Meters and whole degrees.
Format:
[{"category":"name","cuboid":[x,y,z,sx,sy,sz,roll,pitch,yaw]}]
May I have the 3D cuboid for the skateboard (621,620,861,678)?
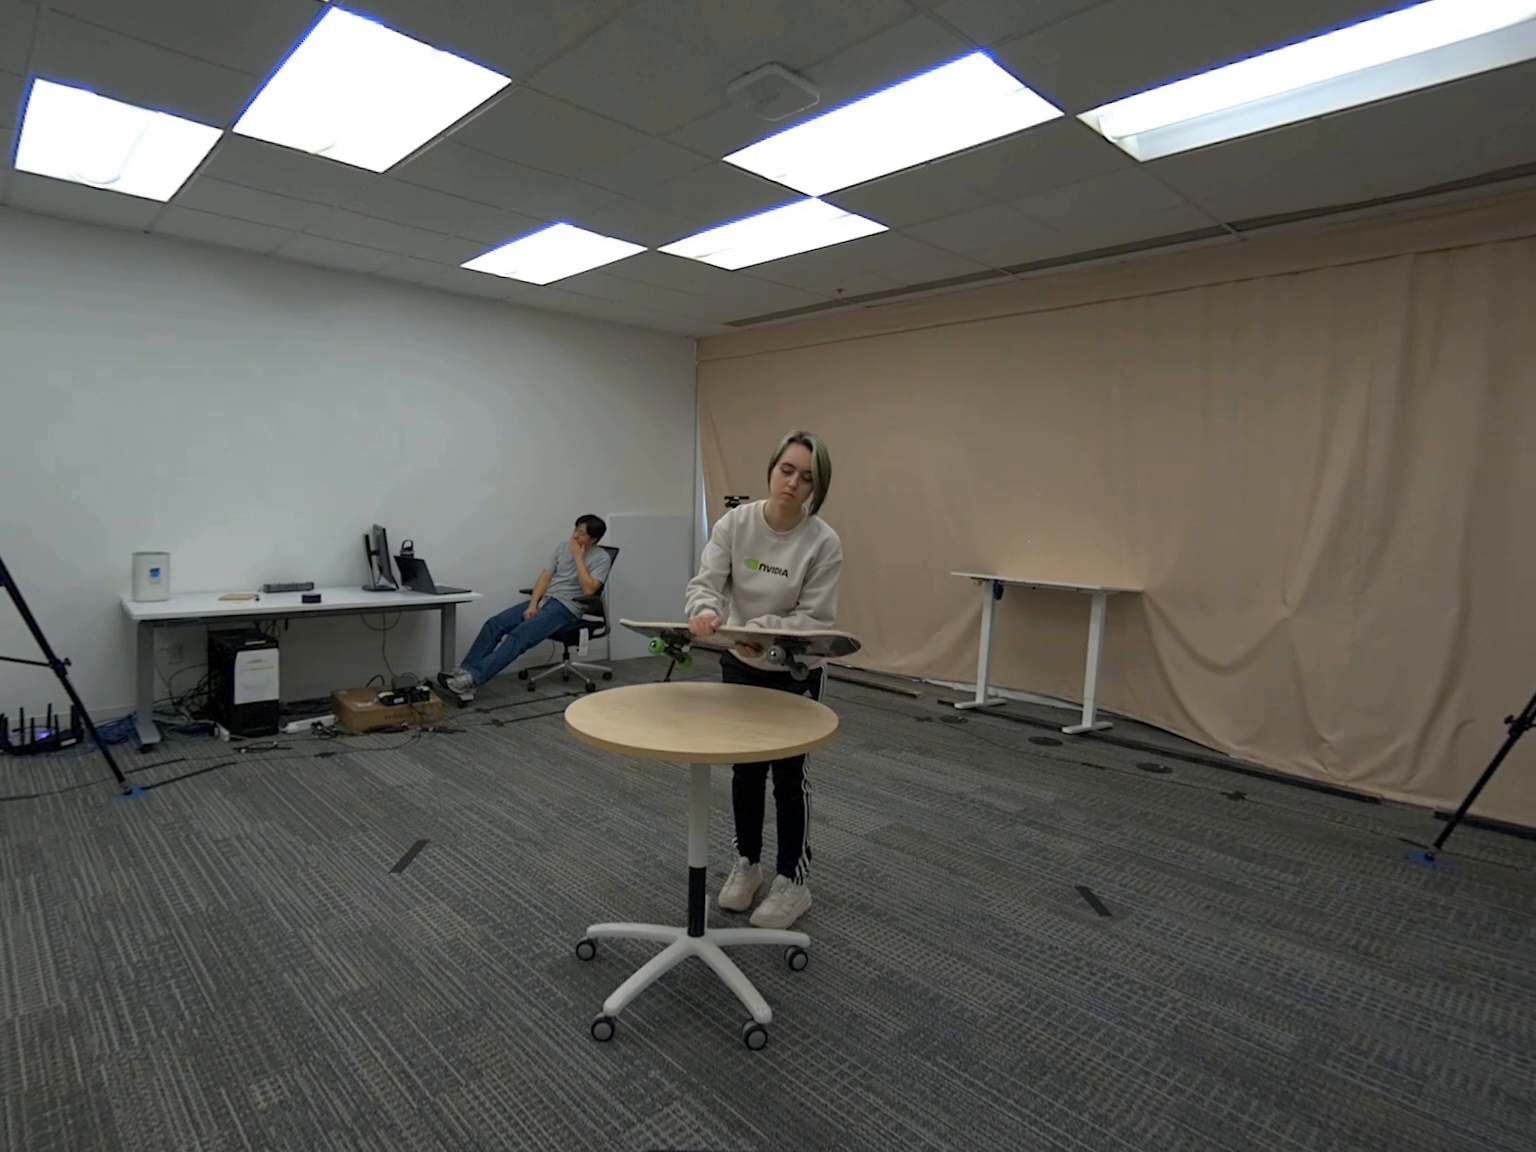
[{"category":"skateboard","cuboid":[-0.116,0.215,2.411,0.802,0.111,0.187,1,-25,31]}]
